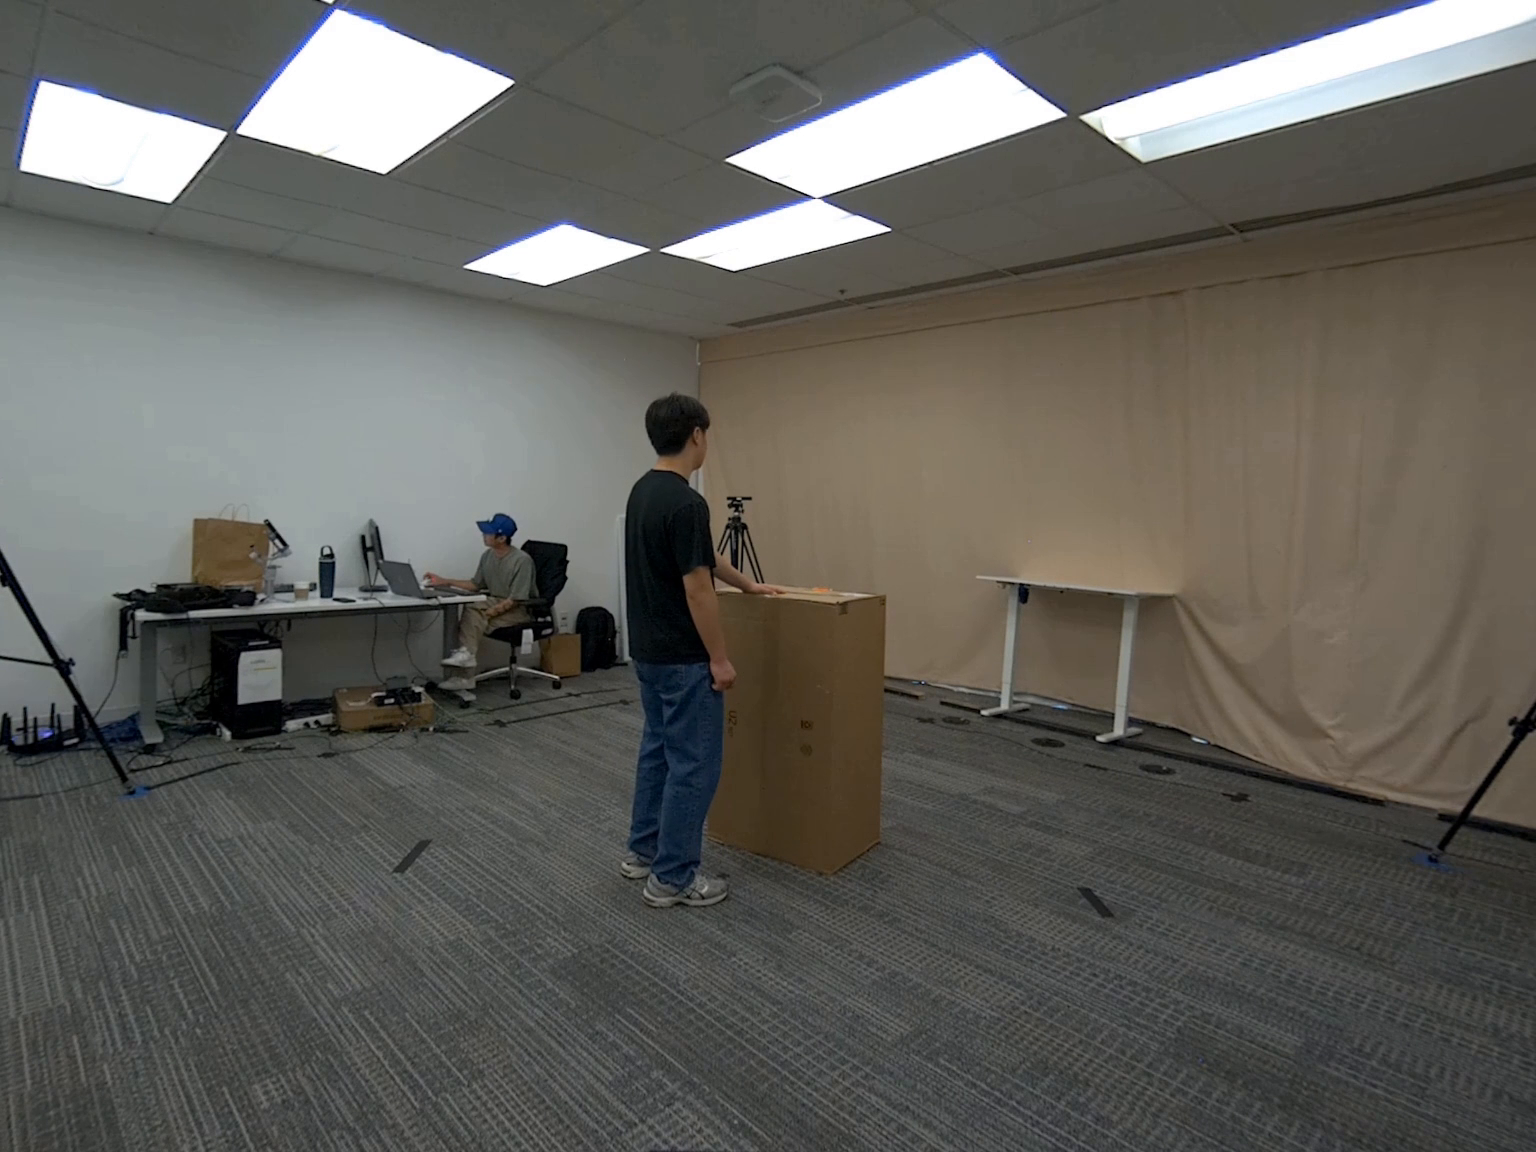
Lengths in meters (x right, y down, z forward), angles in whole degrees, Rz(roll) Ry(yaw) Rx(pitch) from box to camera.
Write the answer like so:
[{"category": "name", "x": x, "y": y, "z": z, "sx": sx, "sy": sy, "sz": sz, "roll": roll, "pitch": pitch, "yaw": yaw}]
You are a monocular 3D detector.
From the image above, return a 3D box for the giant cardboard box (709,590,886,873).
[{"category": "giant cardboard box", "x": 0.118, "y": 0.573, "z": 3.430, "sx": 0.598, "sy": 1.025, "sz": 0.437, "roll": 3, "pitch": 3, "yaw": 36}]
